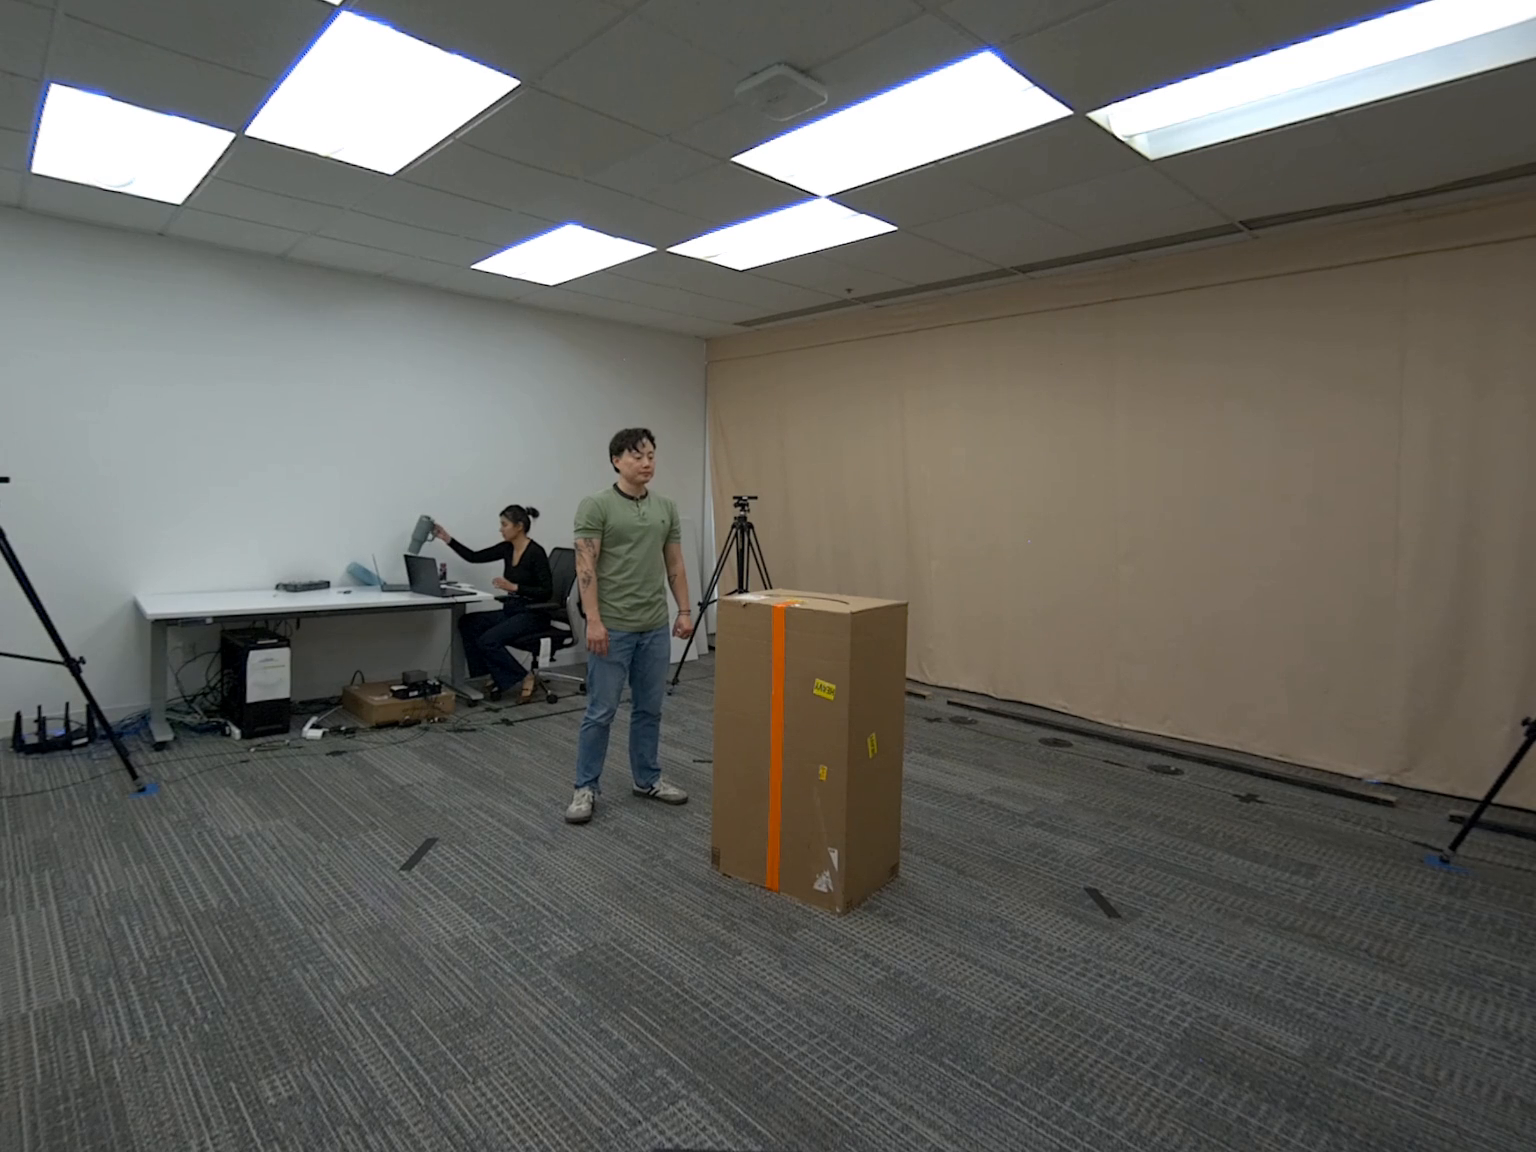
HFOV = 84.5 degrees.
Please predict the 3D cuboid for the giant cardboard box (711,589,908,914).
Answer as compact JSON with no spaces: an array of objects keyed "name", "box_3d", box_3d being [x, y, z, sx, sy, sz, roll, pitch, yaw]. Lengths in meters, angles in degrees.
[{"name":"giant cardboard box","box_3d":[0.143,0.598,3.118,0.591,1.023,0.417,4,4,37]}]
